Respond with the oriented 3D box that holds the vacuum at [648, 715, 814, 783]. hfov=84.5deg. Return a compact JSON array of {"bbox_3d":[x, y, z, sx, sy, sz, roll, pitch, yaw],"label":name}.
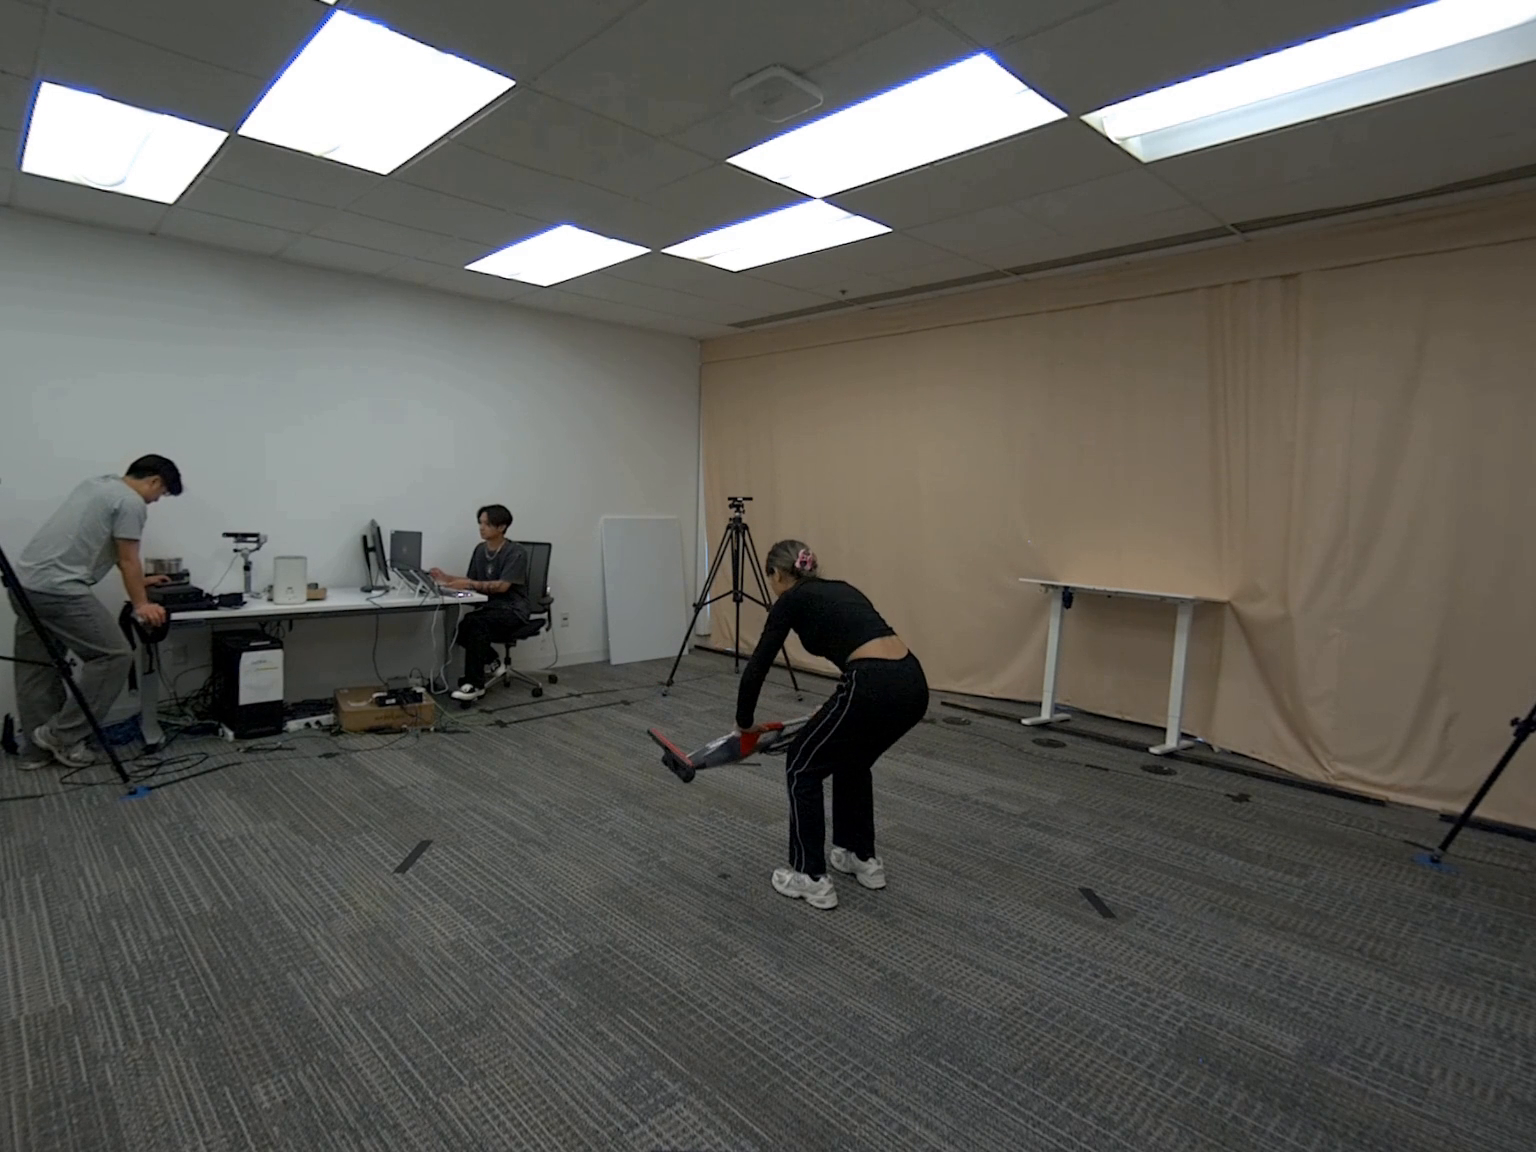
[{"bbox_3d":[0.035,0.618,3.256,1.025,0.143,0.260,-2,23,-43],"label":"vacuum"}]
